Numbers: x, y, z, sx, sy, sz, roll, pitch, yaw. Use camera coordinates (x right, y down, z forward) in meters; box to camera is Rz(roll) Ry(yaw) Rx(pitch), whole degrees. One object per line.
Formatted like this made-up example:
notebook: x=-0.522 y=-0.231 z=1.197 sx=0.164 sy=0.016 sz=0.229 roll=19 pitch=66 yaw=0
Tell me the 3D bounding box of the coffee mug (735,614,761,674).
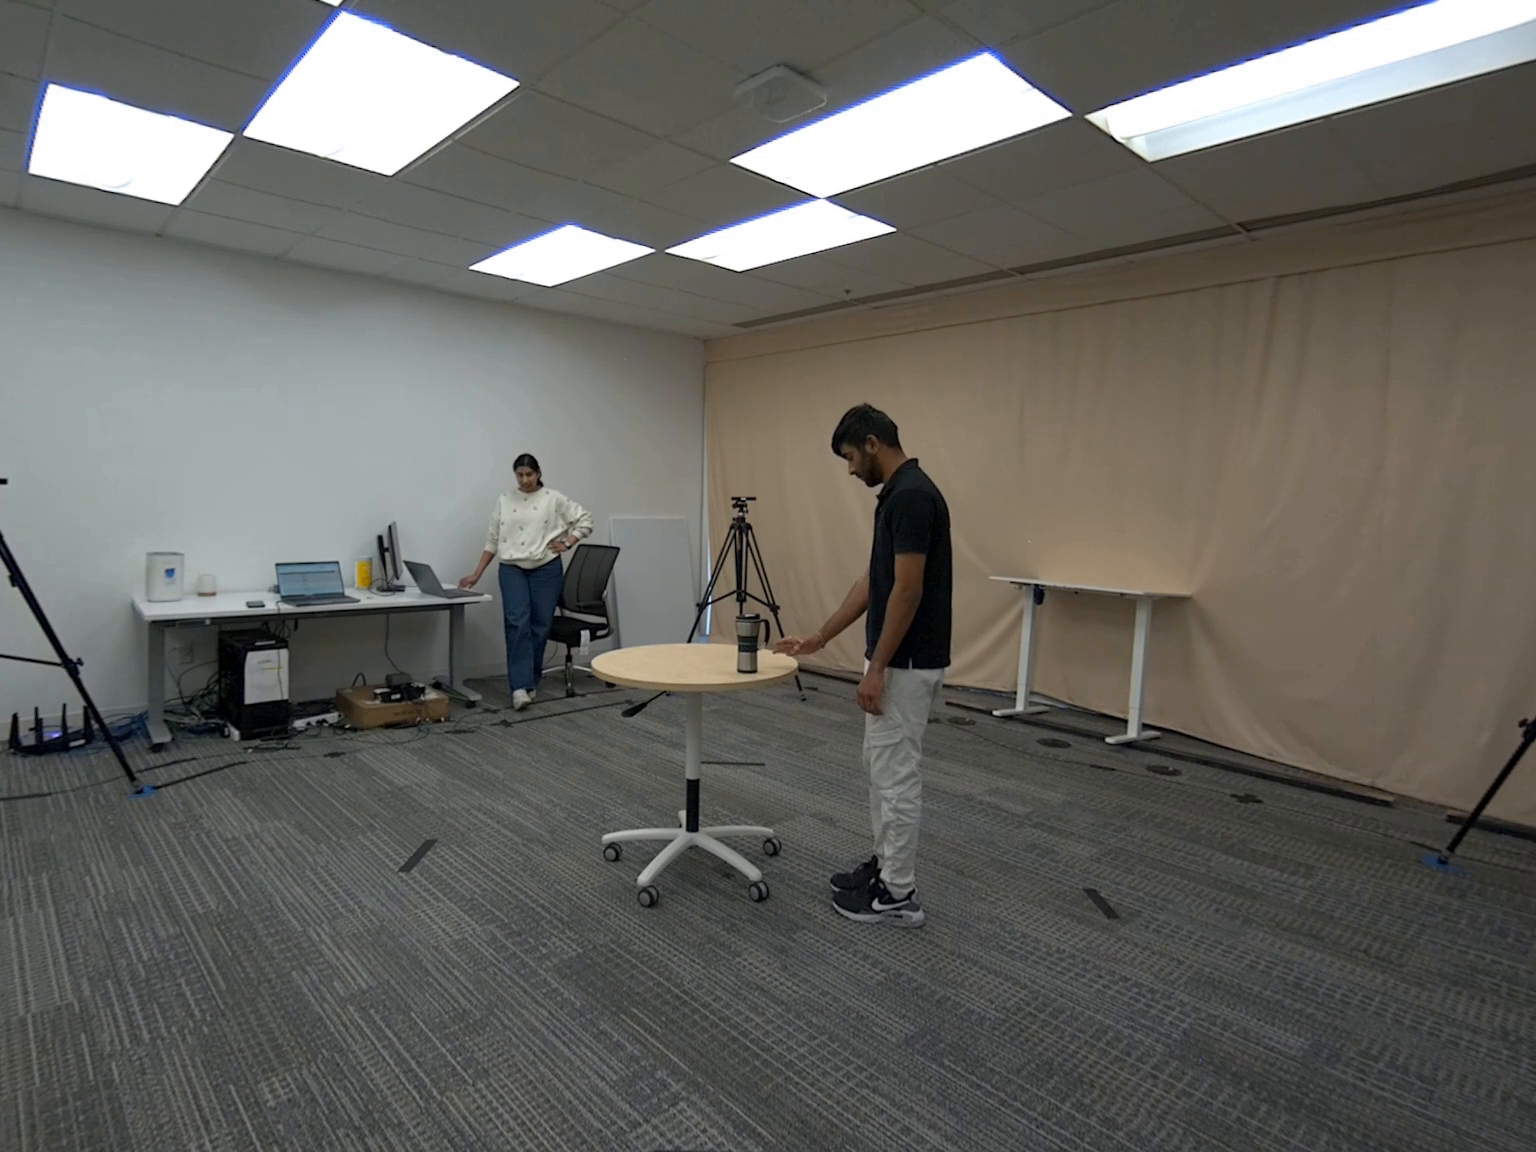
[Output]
coffee mug: x=-0.060 y=0.239 z=2.931 sx=0.086 sy=0.203 sz=0.125 roll=1 pitch=1 yaw=-40
